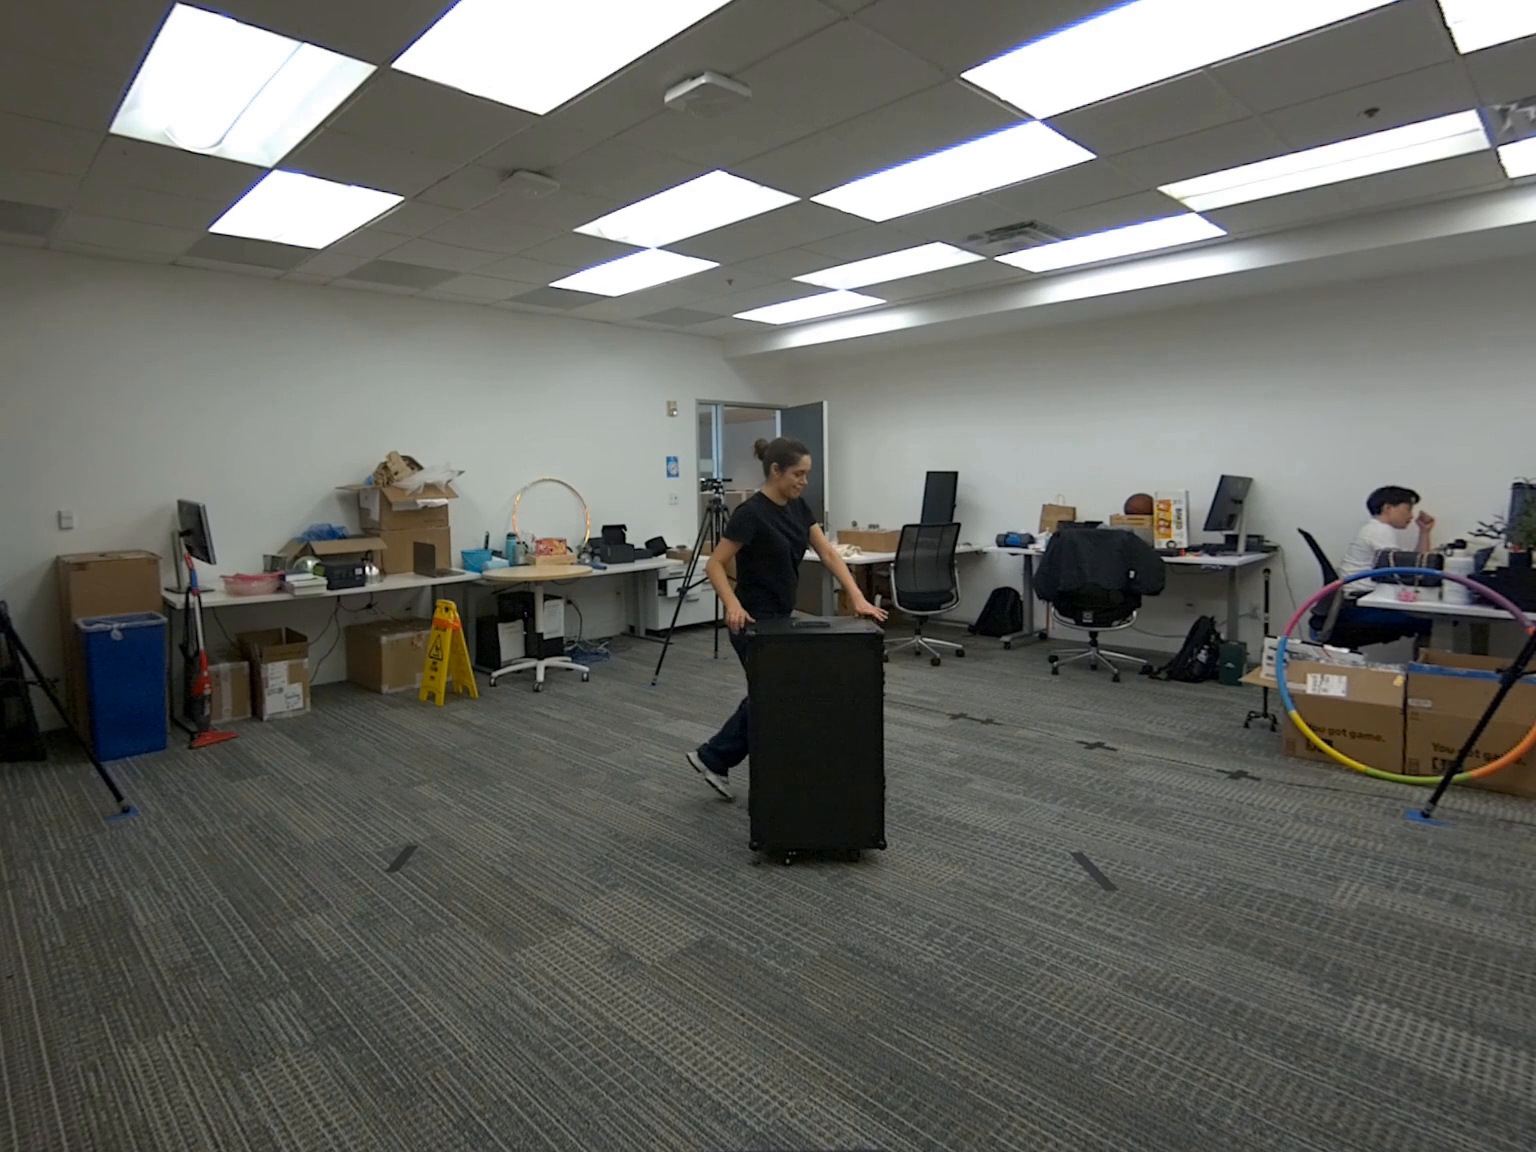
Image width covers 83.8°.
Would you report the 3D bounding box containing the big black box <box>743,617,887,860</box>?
[{"bbox_3d":[0.162,0.606,3.221,0.521,0.859,0.397,-1,3,0],"label":"big black box"}]
